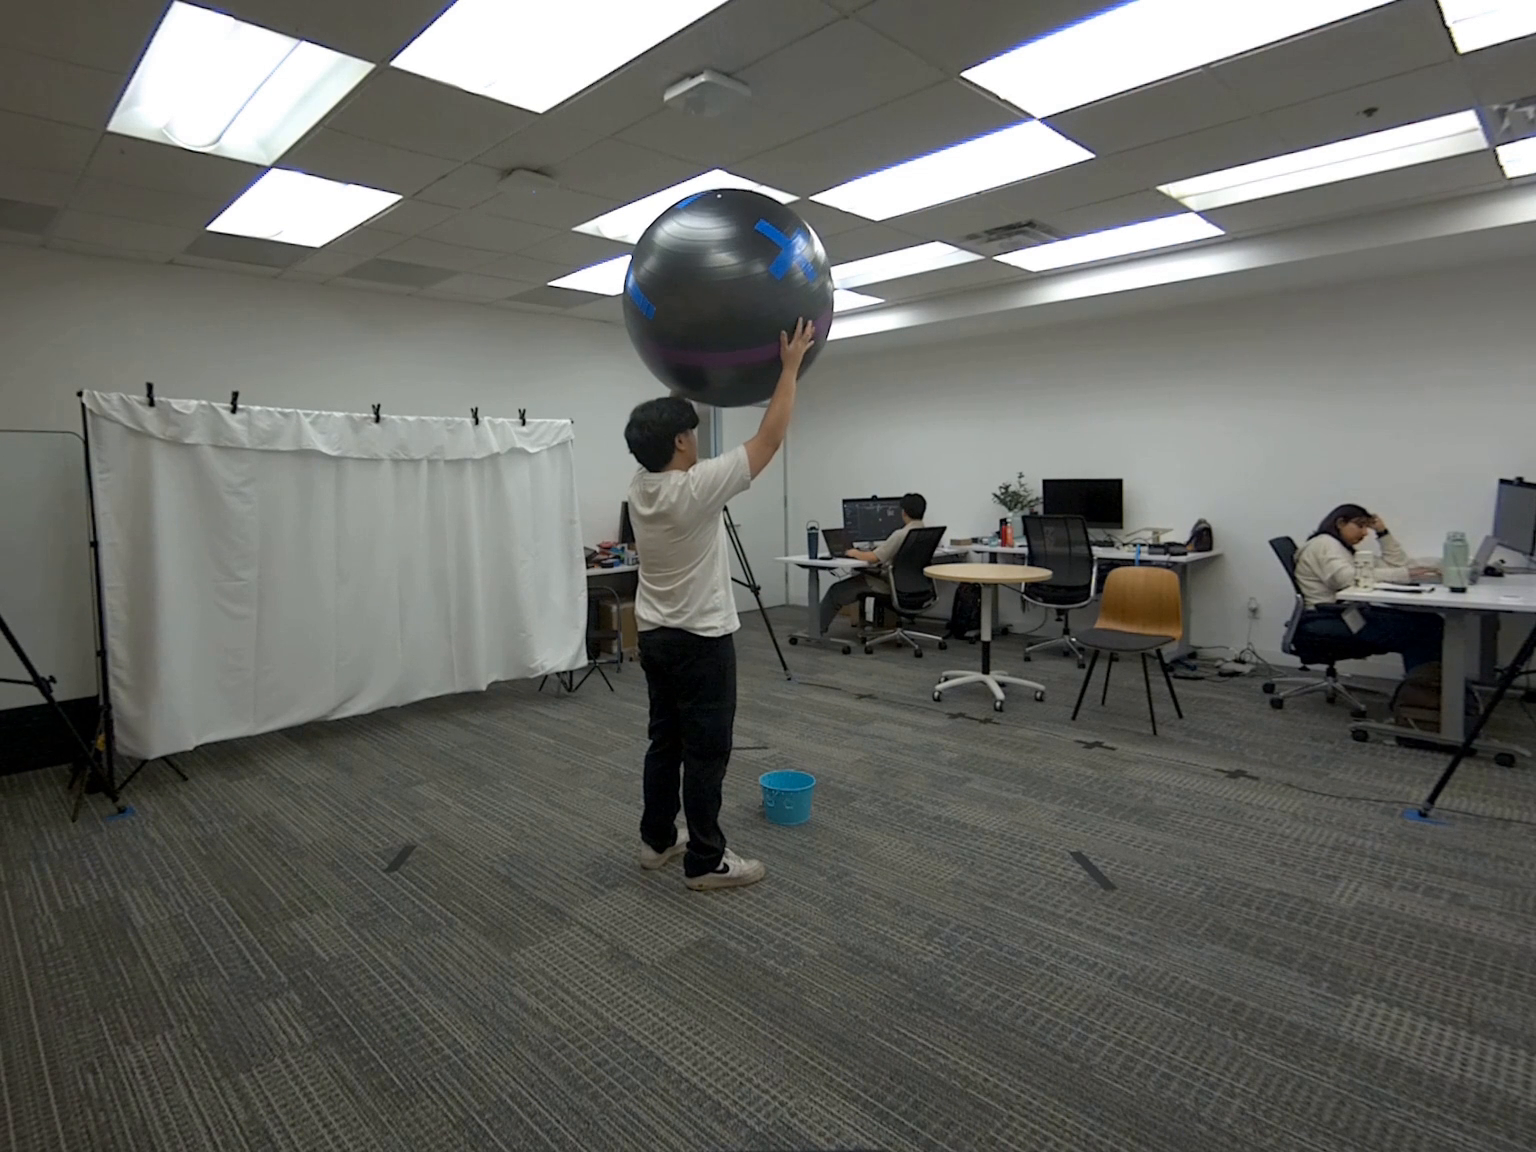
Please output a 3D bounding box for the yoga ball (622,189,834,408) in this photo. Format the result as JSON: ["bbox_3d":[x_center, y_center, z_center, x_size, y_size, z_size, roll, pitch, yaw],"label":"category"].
[{"bbox_3d":[-0.138,-0.987,3.070,0.757,0.755,0.762,-1,5,-2],"label":"yoga ball"}]
